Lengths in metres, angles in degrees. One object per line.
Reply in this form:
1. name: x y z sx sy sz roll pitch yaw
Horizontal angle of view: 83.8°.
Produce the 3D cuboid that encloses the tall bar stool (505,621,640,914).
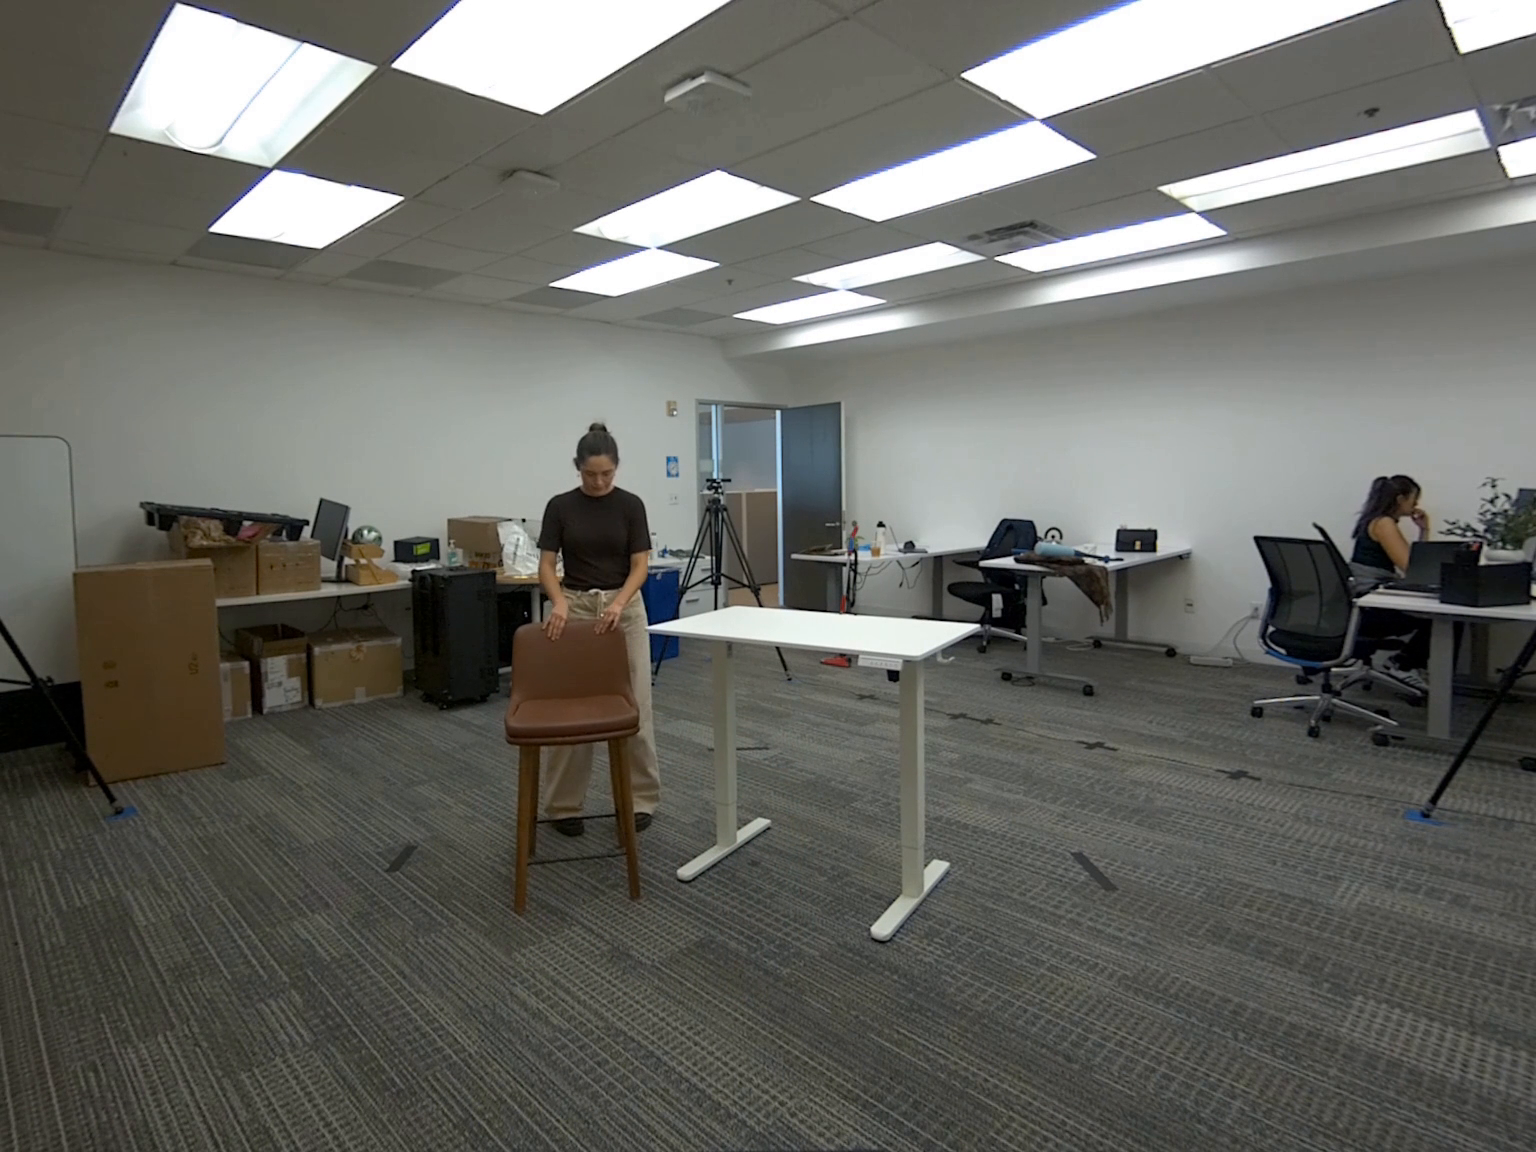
1. tall bar stool: -0.692 0.629 3.014 0.452 0.888 0.473 -2 2 -12
